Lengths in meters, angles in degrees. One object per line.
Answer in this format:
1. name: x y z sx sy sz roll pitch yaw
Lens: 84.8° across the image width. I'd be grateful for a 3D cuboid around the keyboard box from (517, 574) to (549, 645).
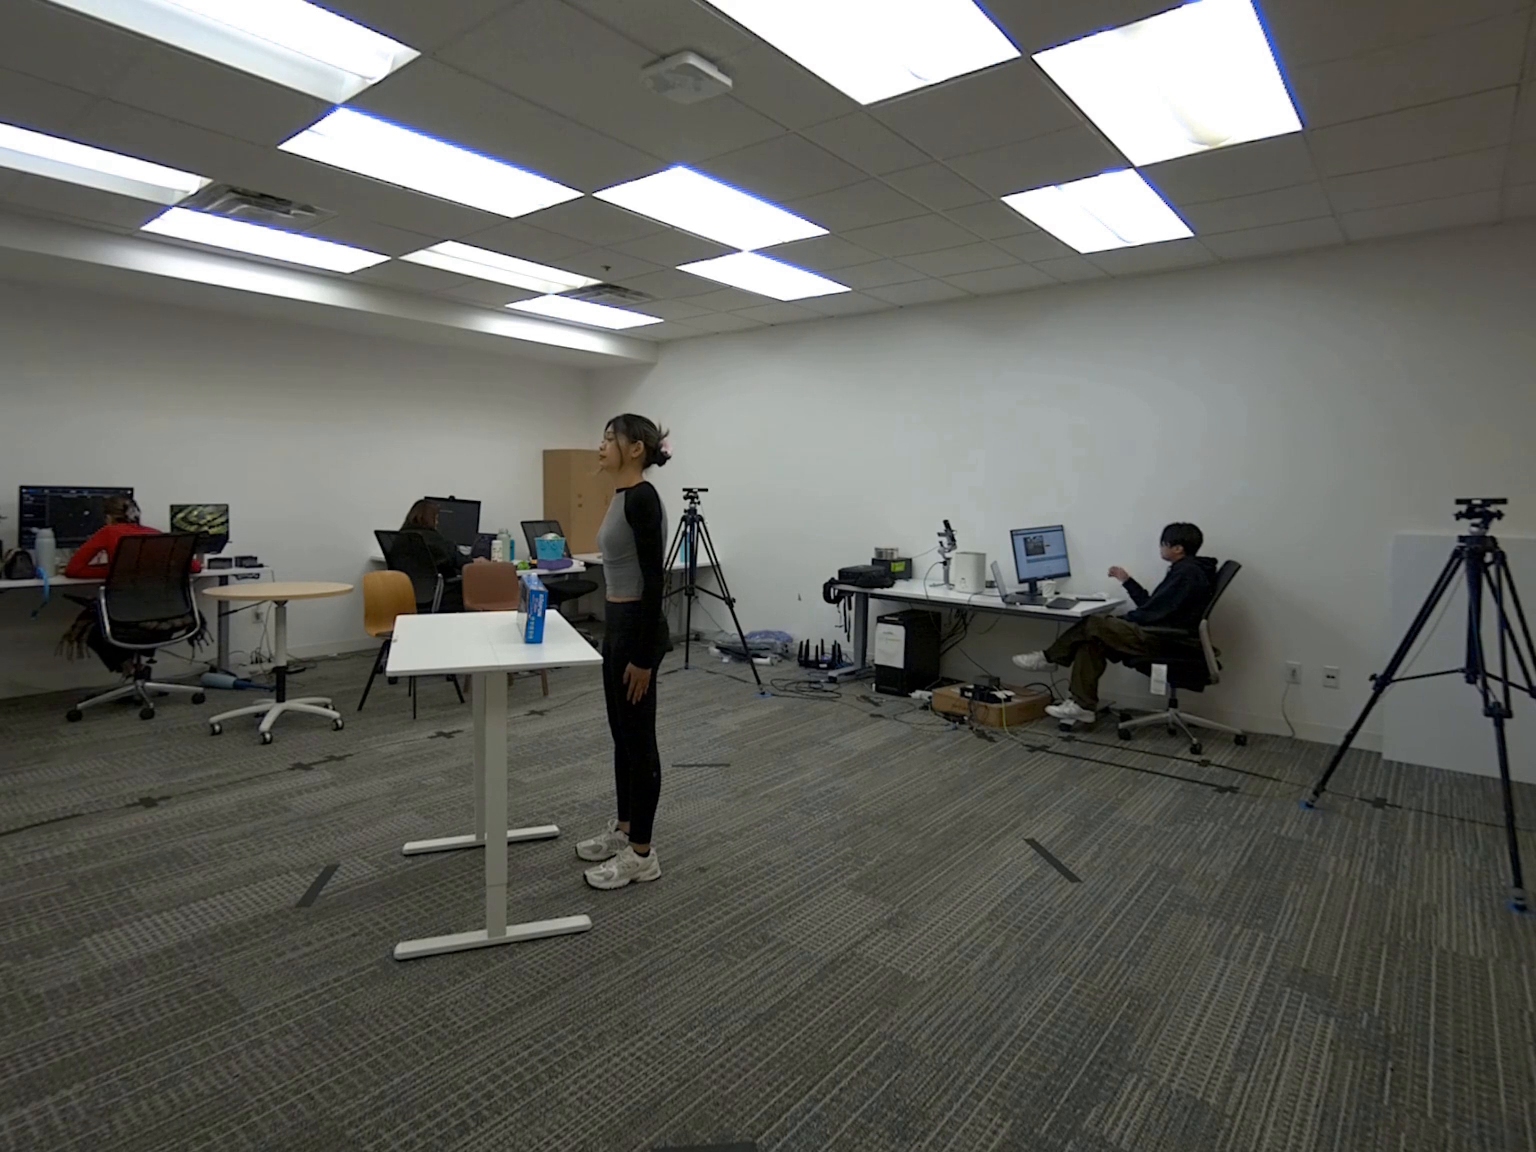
1. keyboard box: -0.826 0.104 2.941 0.058 0.175 0.447 5 5 -20
